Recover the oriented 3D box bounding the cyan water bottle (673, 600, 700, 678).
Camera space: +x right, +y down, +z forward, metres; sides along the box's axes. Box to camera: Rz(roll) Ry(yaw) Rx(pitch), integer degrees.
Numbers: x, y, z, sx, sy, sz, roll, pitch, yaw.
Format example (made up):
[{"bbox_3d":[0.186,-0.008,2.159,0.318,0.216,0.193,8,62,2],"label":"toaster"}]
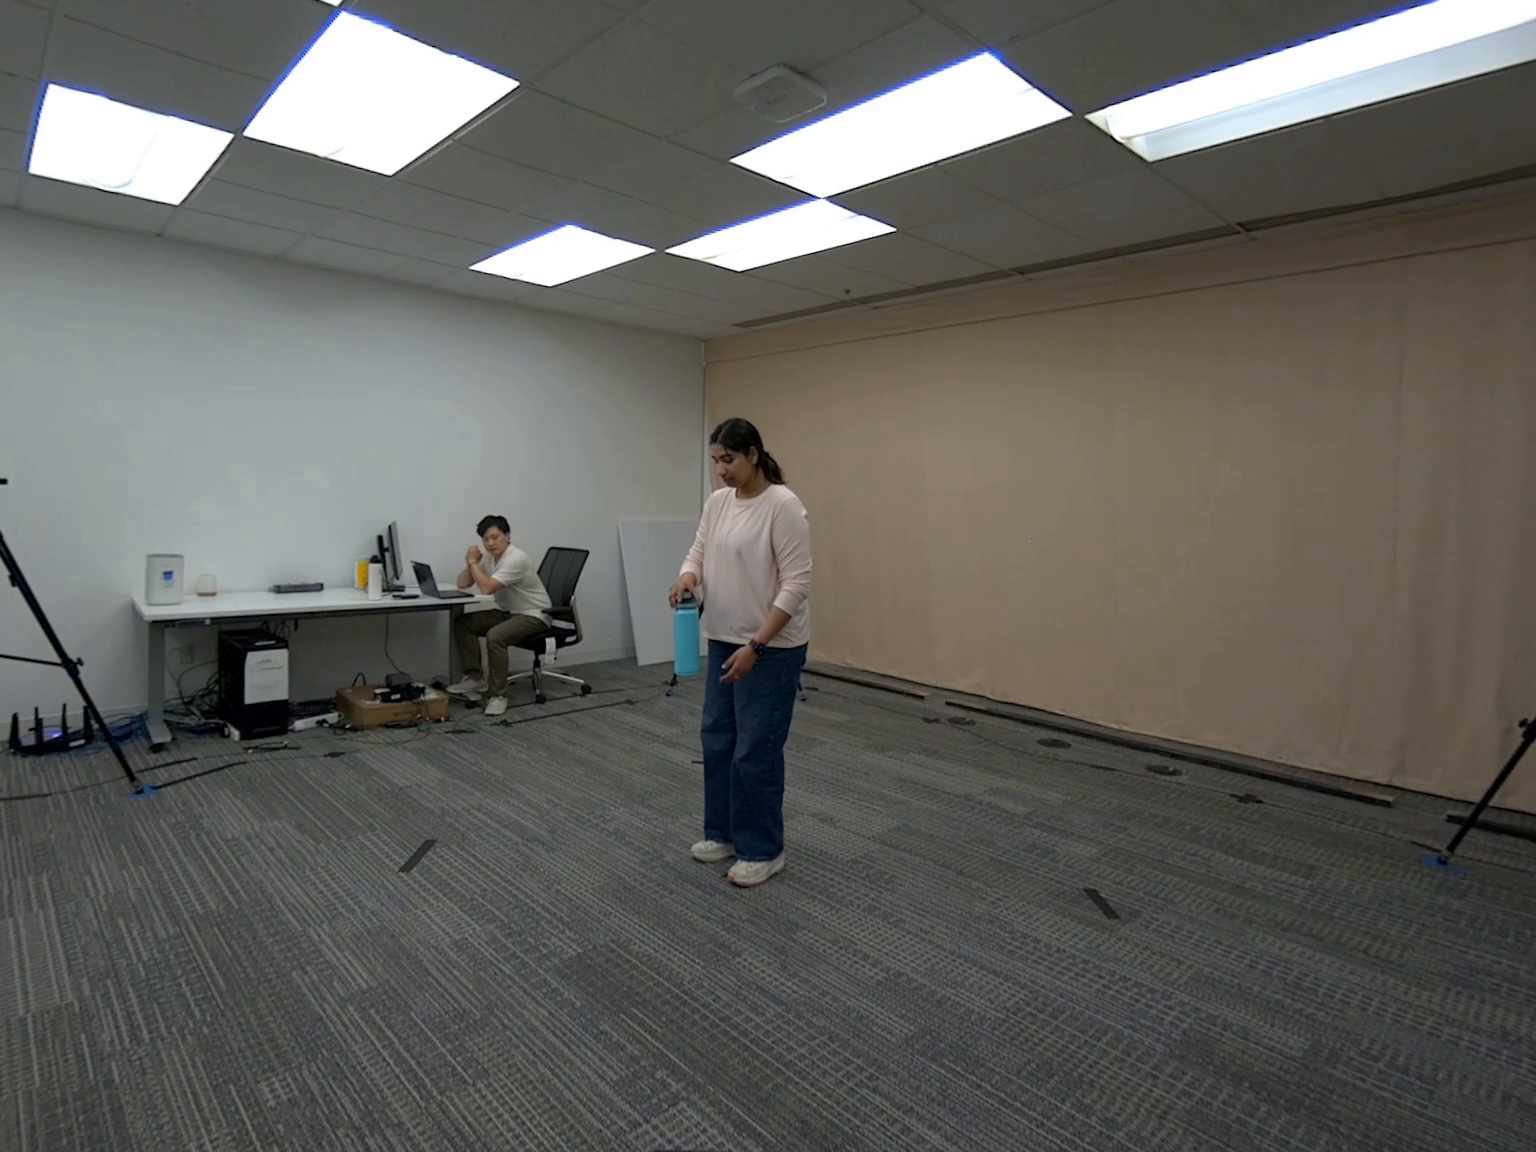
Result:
[{"bbox_3d":[-0.286,0.206,2.948,0.092,0.282,0.093,-2,4,-1],"label":"cyan water bottle"}]
